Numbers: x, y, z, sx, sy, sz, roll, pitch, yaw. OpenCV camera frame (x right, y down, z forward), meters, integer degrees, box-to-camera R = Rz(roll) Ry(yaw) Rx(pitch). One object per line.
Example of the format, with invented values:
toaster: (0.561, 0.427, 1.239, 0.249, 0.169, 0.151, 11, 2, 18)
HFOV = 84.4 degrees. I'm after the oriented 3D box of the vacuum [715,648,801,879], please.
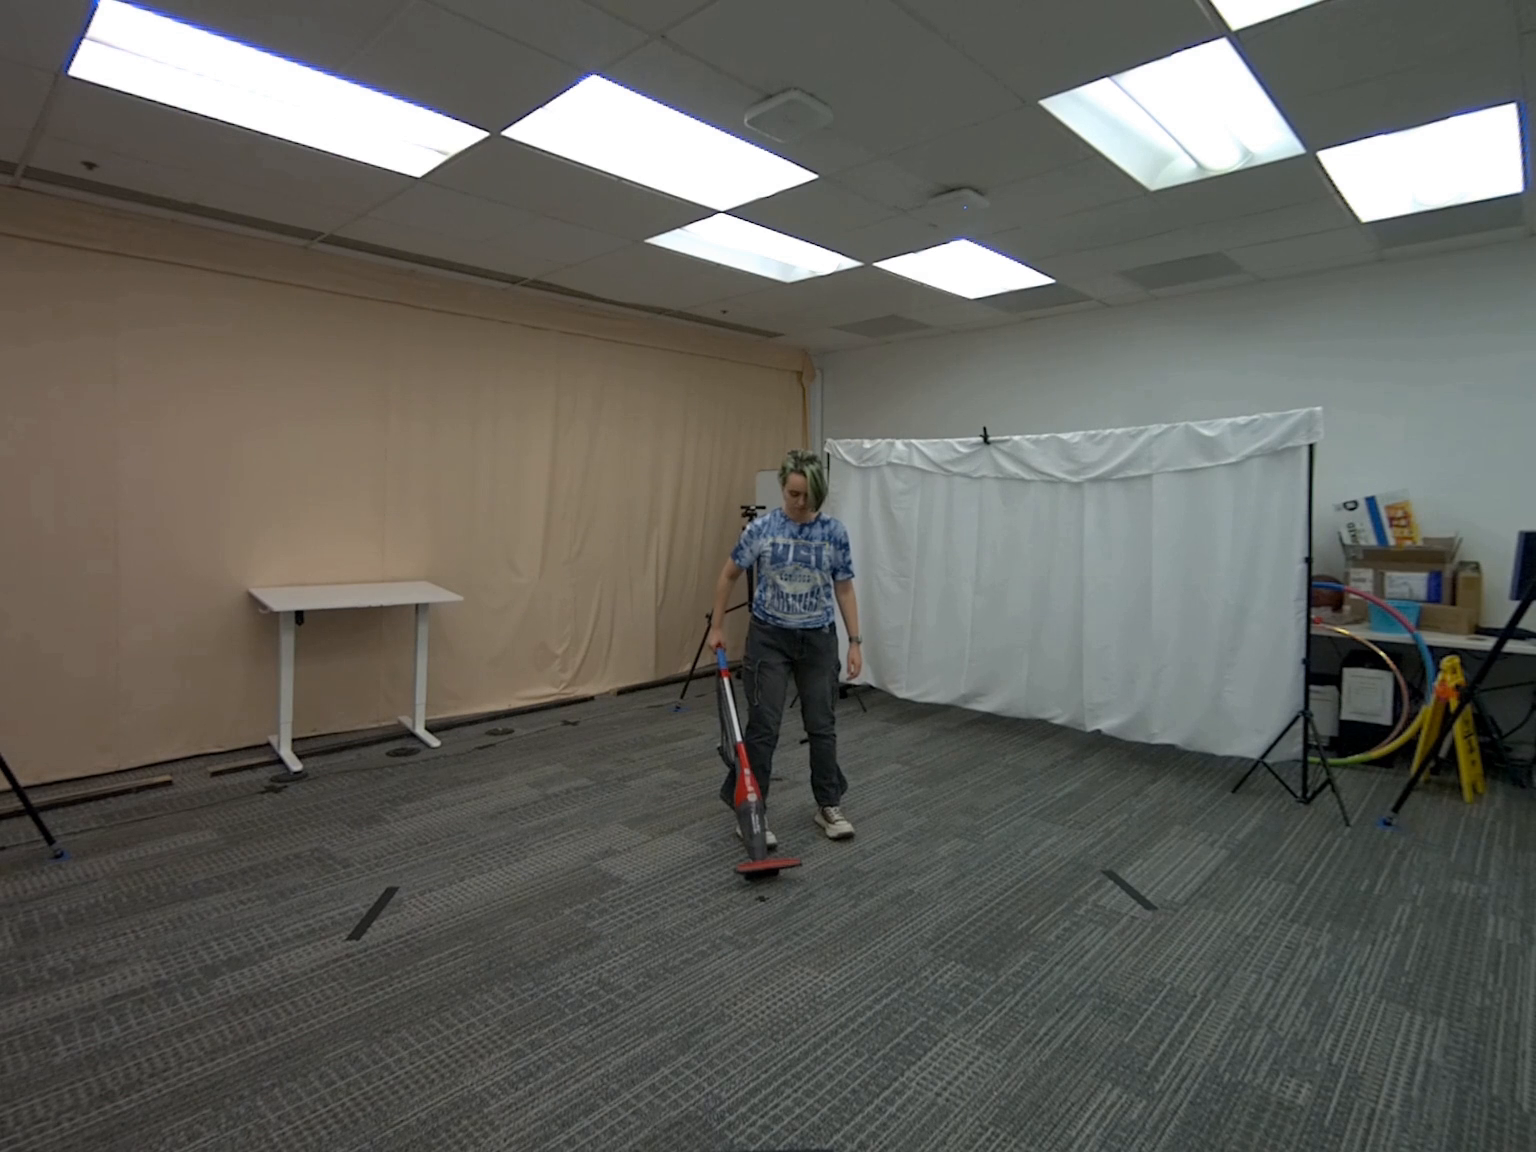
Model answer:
vacuum: (-0.123, 0.693, 3.430, 0.248, 1.076, 0.142, -3, -39, -17)
